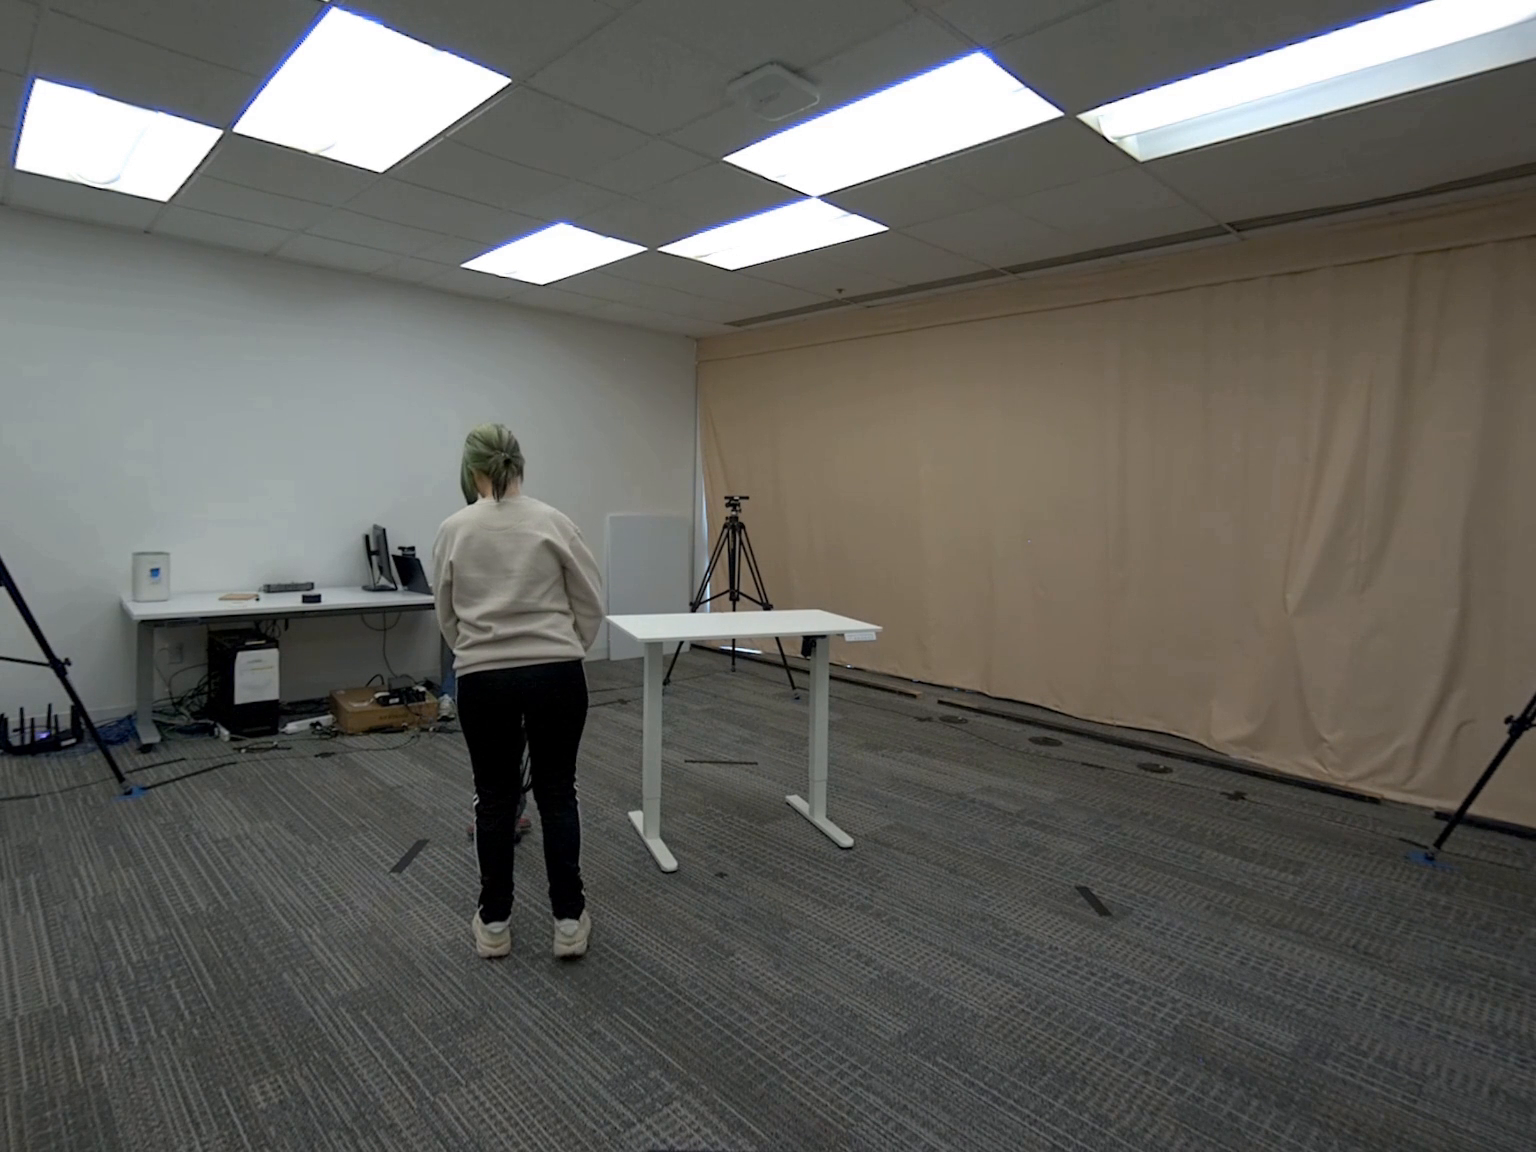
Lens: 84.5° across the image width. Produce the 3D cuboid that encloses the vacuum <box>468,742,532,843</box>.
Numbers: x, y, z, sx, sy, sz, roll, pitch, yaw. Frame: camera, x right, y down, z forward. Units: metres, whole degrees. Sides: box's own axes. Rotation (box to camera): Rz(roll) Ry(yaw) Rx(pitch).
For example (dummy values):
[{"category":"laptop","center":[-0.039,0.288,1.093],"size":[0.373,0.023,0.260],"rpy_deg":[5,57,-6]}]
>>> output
[{"category":"vacuum","center":[-0.911,0.714,3.030],"size":[0.248,0.148,1.040],"rpy_deg":[-5,-37,-29]}]
